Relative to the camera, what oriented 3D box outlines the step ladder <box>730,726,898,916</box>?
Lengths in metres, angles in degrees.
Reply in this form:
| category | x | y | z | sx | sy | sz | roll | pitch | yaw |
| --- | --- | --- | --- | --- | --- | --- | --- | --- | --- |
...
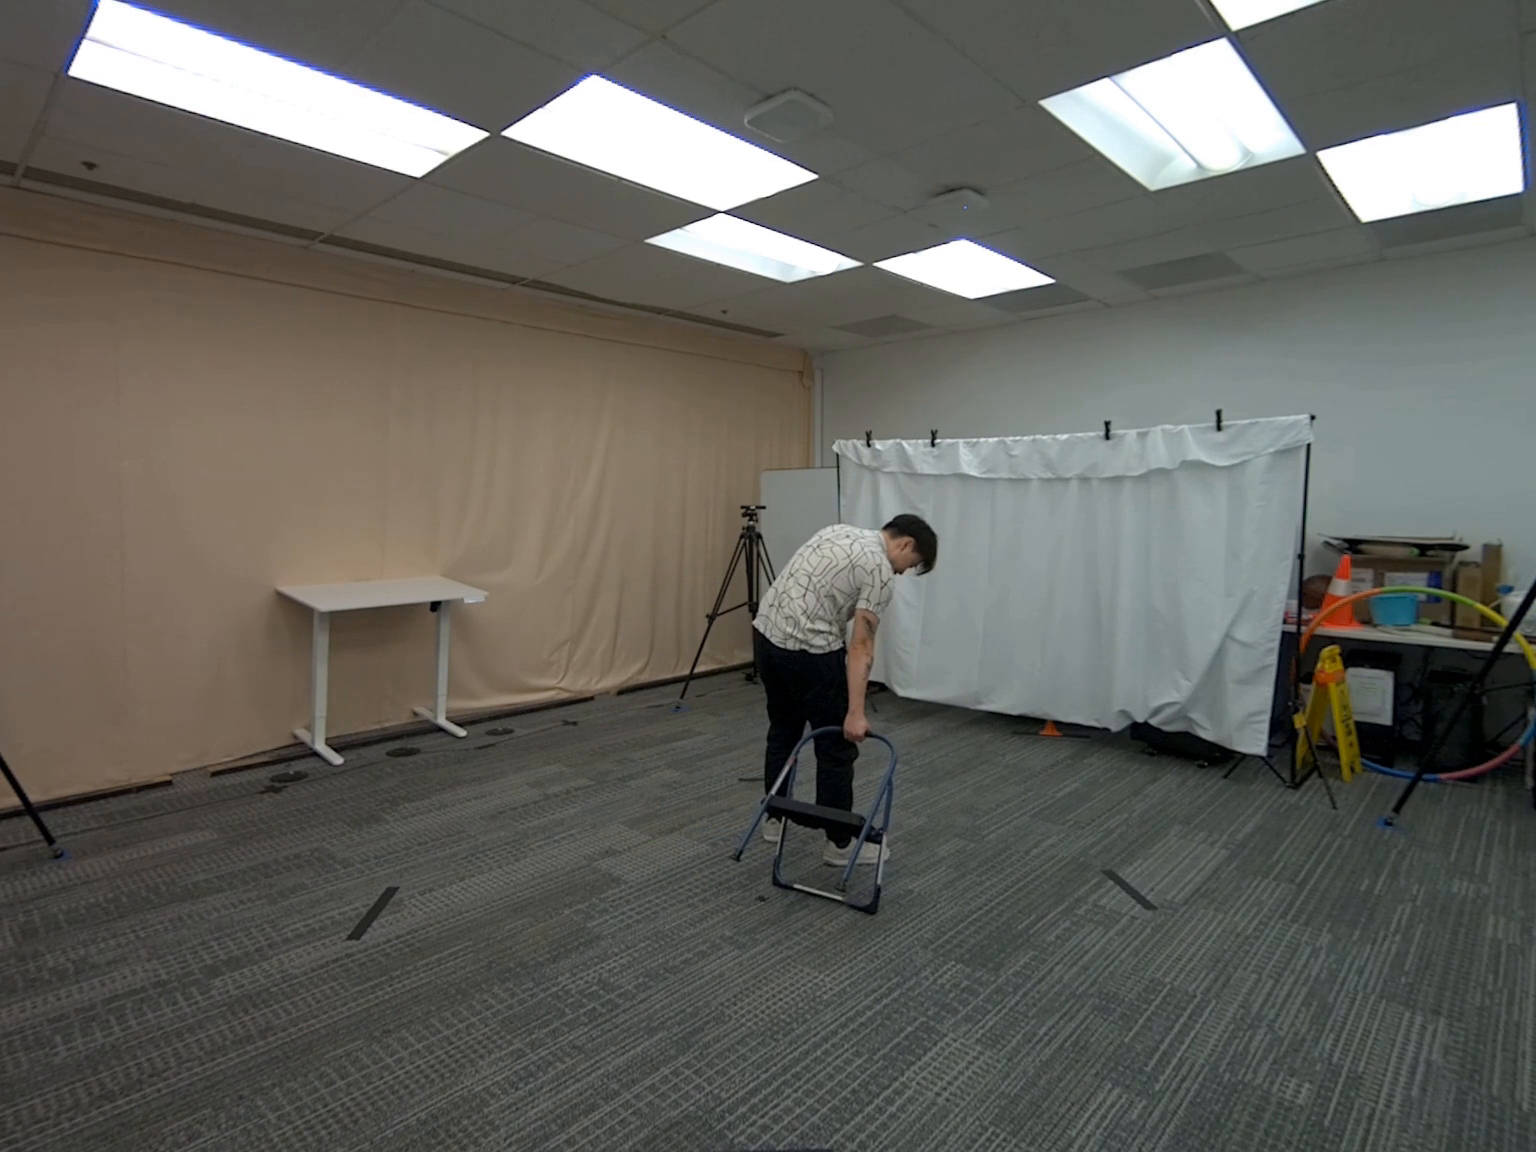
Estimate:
| category | x | y | z | sx | sy | sz | roll | pitch | yaw |
| --- | --- | --- | --- | --- | --- | --- | --- | --- | --- |
| step ladder | 0.222 | 0.800 | 2.997 | 0.444 | 0.609 | 0.337 | 2 | -31 | 33 |
